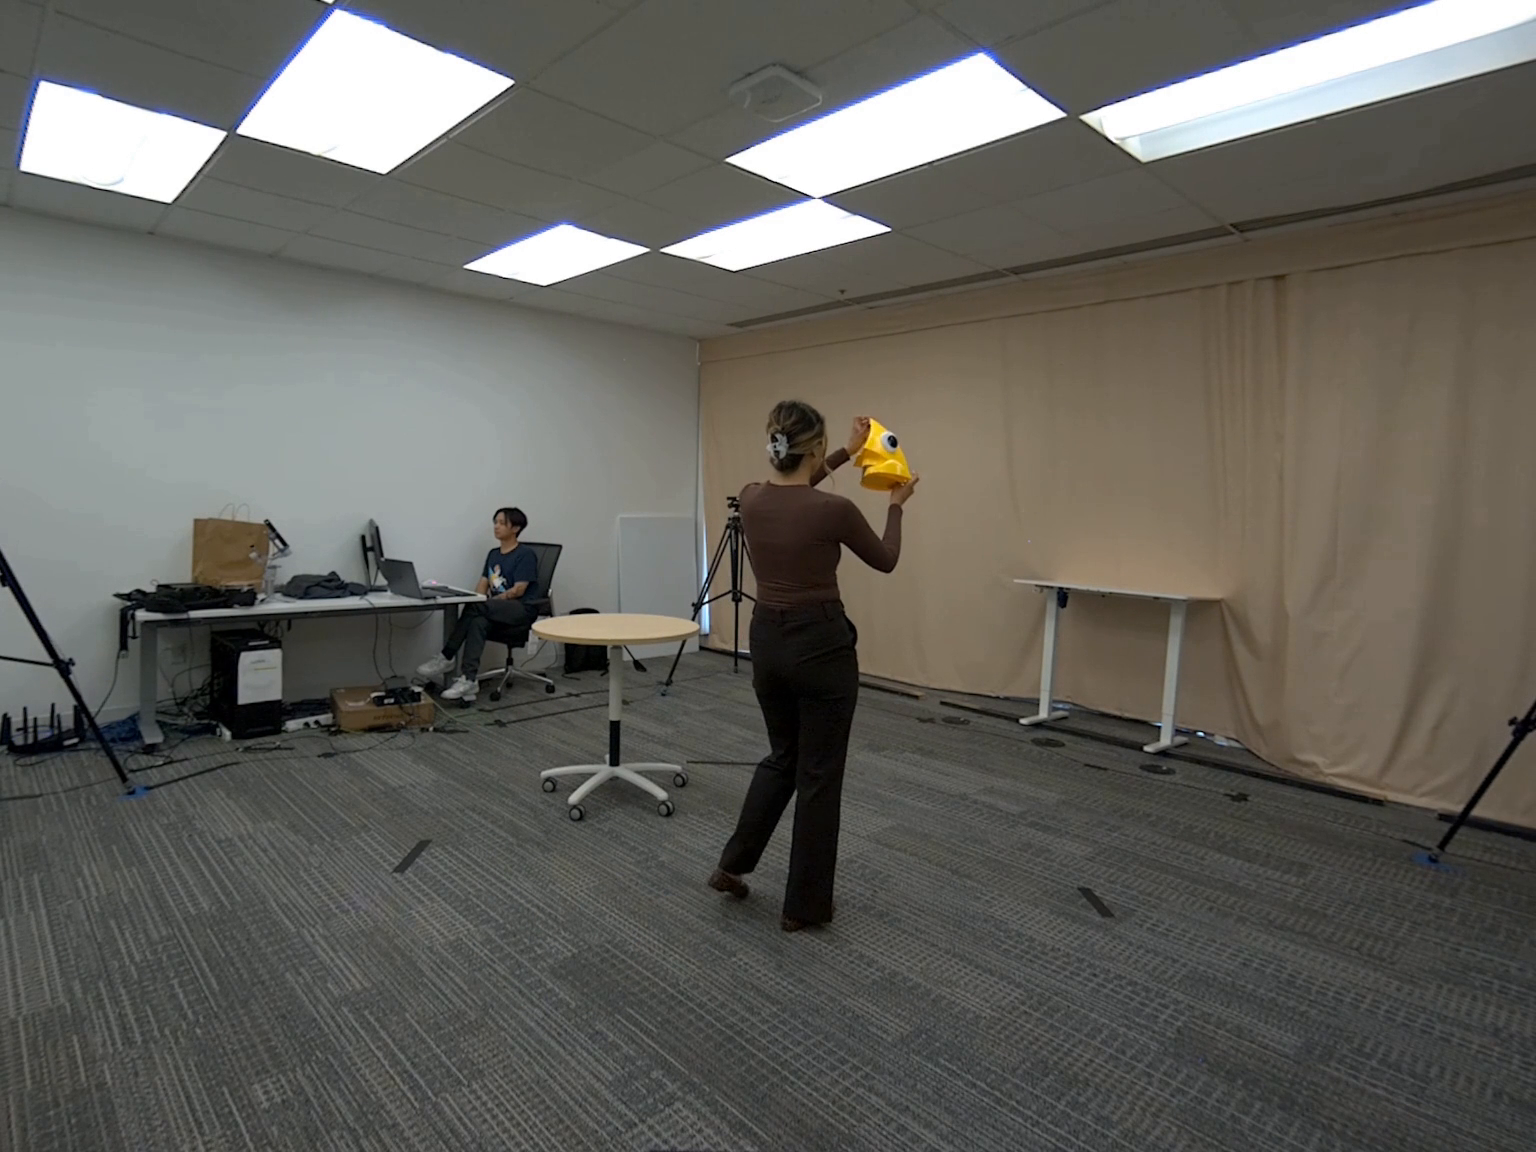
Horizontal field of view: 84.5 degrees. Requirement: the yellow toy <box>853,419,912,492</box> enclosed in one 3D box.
[{"bbox_3d":[0.400,-0.442,2.980,0.192,0.232,0.204,7,-12,-4],"label":"yellow toy"}]
